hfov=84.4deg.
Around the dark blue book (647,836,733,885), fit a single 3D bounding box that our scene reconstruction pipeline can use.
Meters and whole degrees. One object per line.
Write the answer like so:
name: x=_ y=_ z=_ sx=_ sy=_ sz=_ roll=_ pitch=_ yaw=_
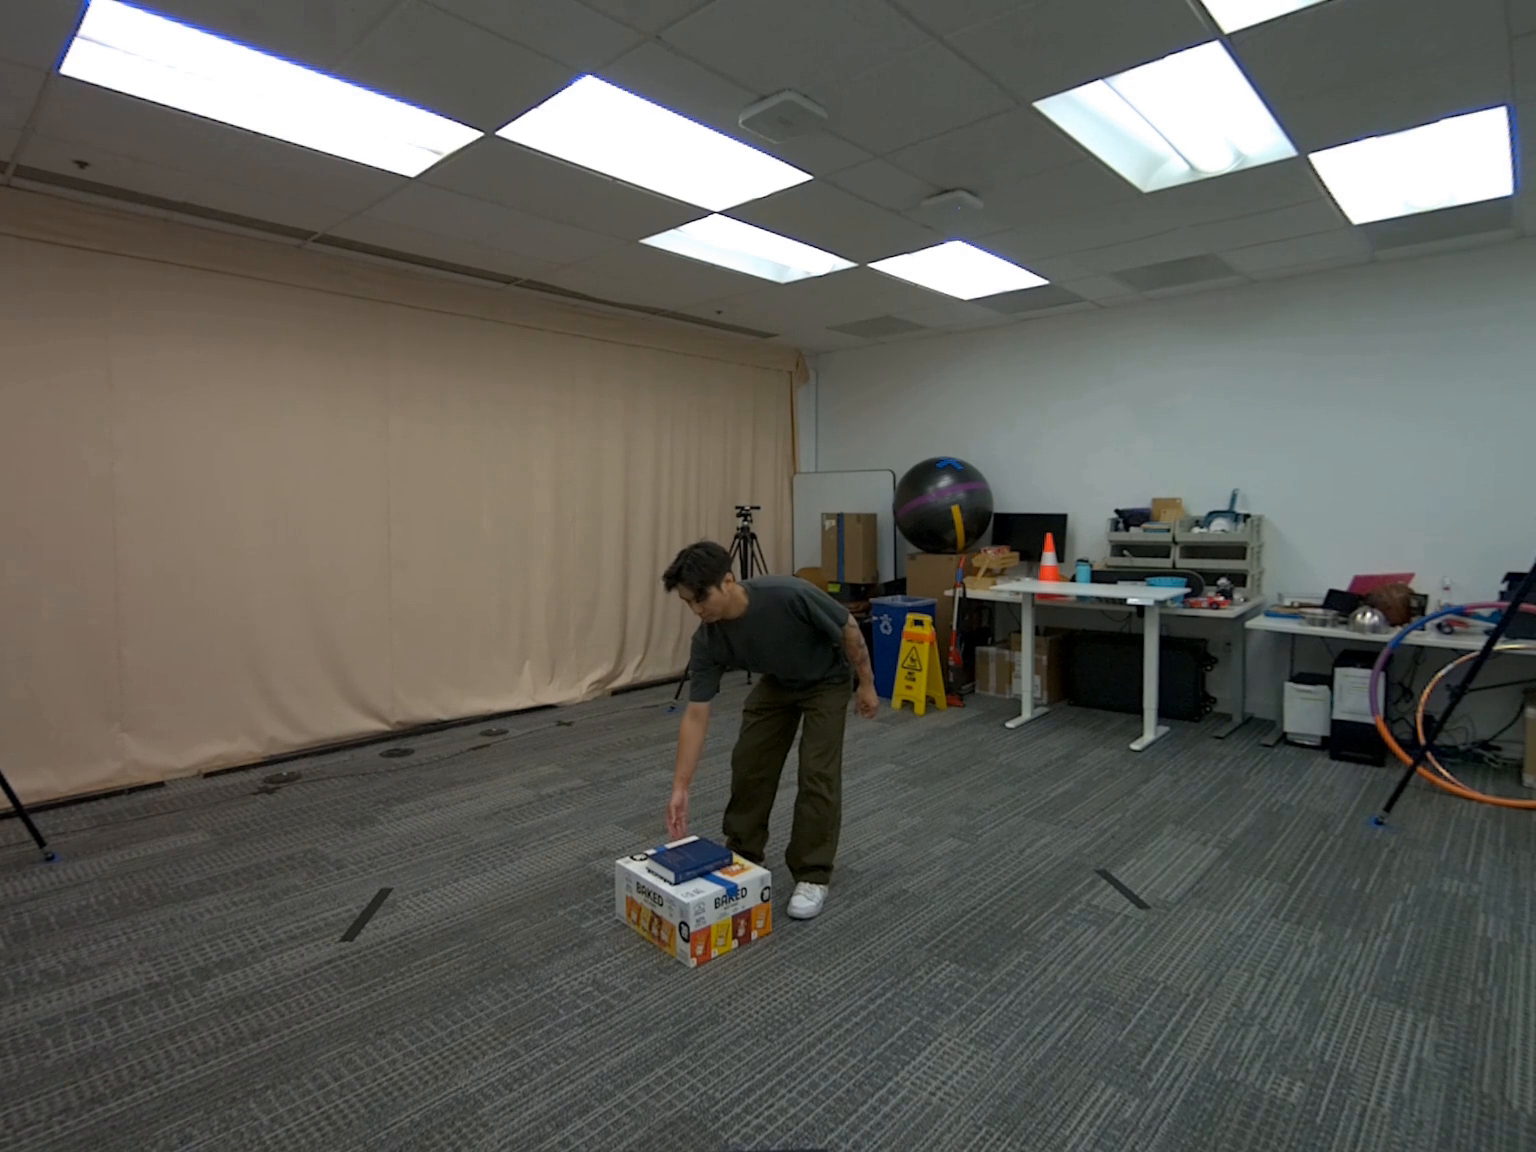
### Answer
dark blue book: x=-0.260 y=0.947 z=2.791 sx=0.238 sy=0.045 sz=0.169 roll=-4 pitch=6 yaw=-40
